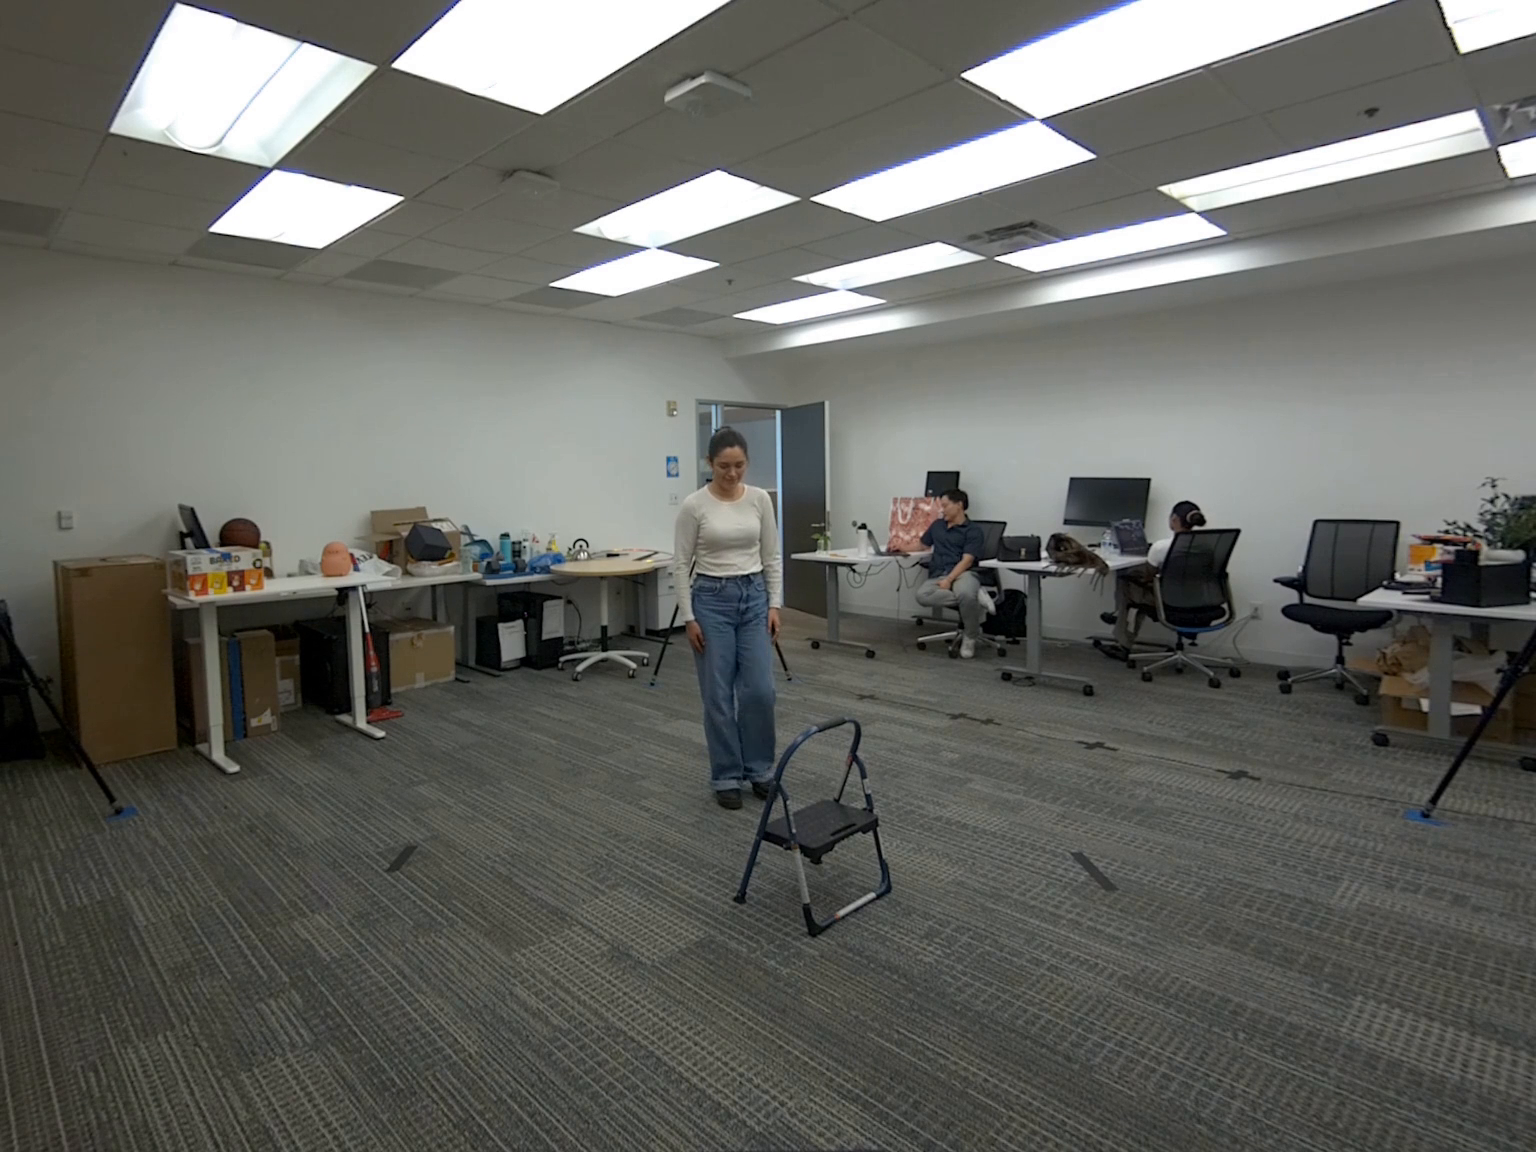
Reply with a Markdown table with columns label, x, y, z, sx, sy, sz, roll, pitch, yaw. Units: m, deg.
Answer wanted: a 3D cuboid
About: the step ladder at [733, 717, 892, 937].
| label | x | y | z | sx | sy | sz | roll | pitch | yaw |
| --- | --- | --- | --- | --- | --- | --- | --- | --- | --- |
| step ladder | 0.153 | 0.768 | 2.839 | 0.360 | 0.604 | 0.419 | 3 | 6 | 43 |
